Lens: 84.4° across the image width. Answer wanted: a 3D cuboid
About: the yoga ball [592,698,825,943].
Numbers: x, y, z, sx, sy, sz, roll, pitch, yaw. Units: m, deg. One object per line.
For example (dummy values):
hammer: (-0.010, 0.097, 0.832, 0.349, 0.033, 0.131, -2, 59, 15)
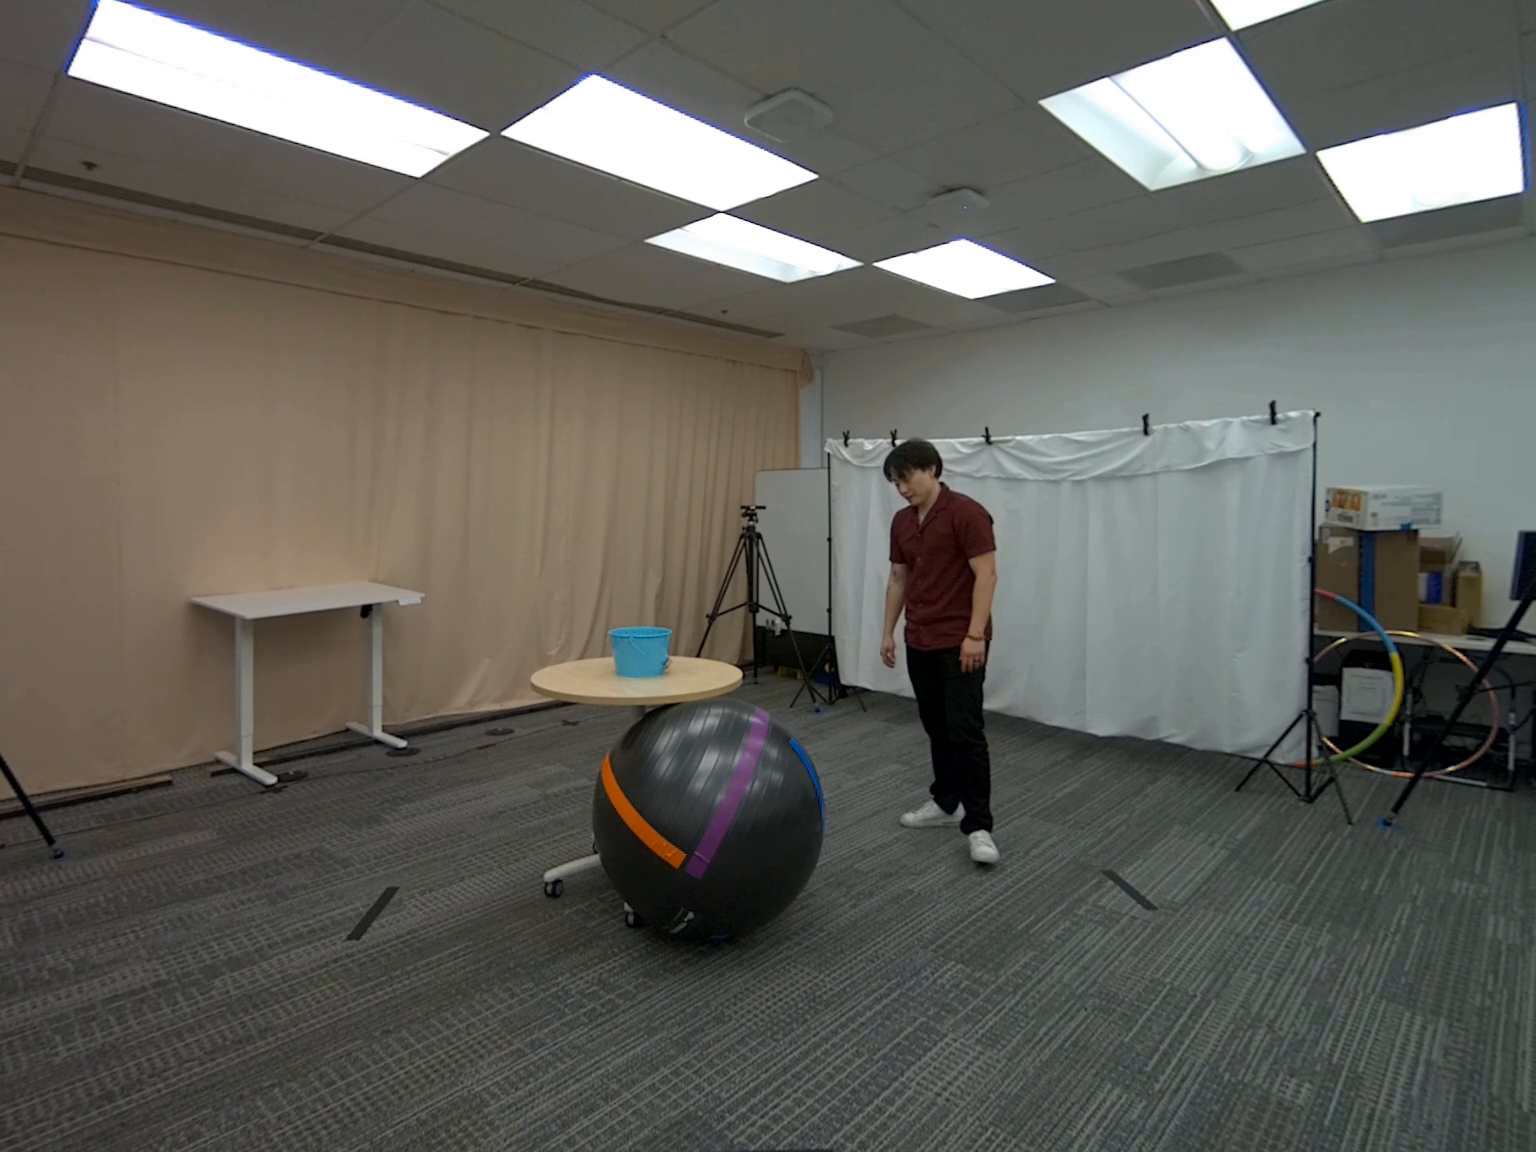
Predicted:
yoga ball: (-0.188, 0.783, 2.757, 0.757, 0.756, 0.761, 0, 4, -2)
